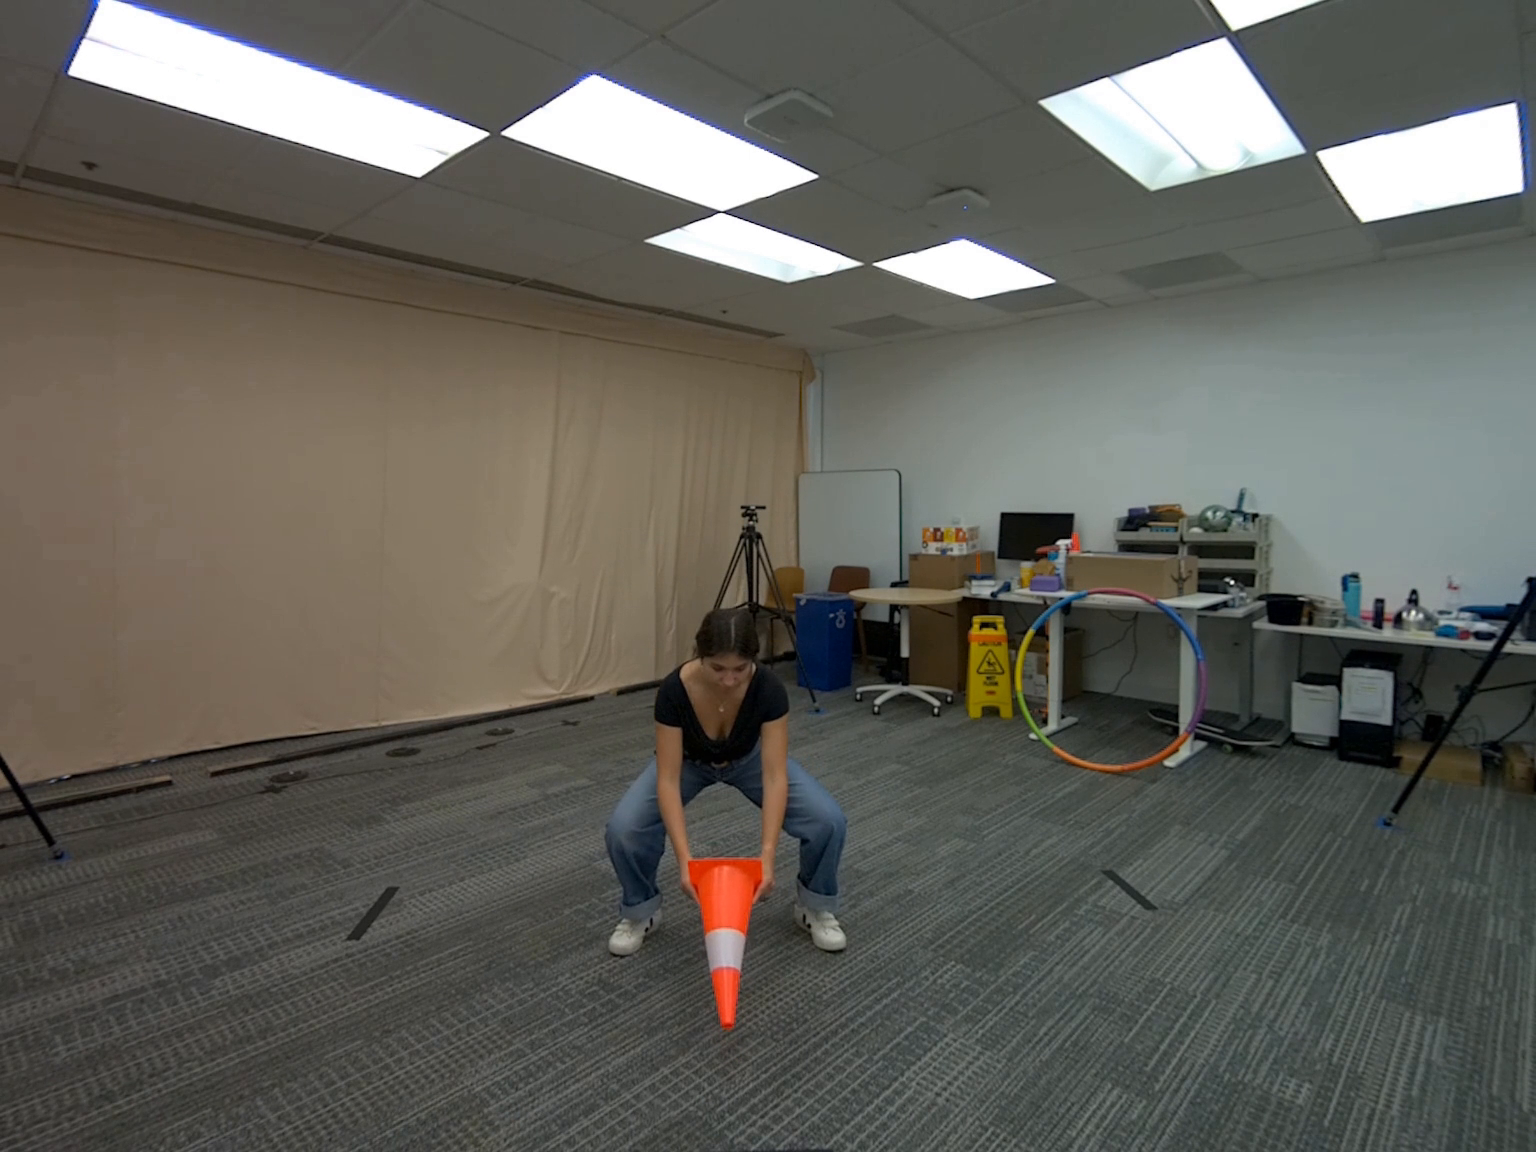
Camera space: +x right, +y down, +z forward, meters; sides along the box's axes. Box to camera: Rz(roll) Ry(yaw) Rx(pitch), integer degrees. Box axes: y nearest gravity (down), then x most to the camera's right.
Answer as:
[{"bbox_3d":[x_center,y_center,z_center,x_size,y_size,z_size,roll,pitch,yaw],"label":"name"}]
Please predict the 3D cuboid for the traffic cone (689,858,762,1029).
[{"bbox_3d":[-0.101,0.925,2.137,0.202,0.202,0.392,1,37,-7],"label":"traffic cone"}]
